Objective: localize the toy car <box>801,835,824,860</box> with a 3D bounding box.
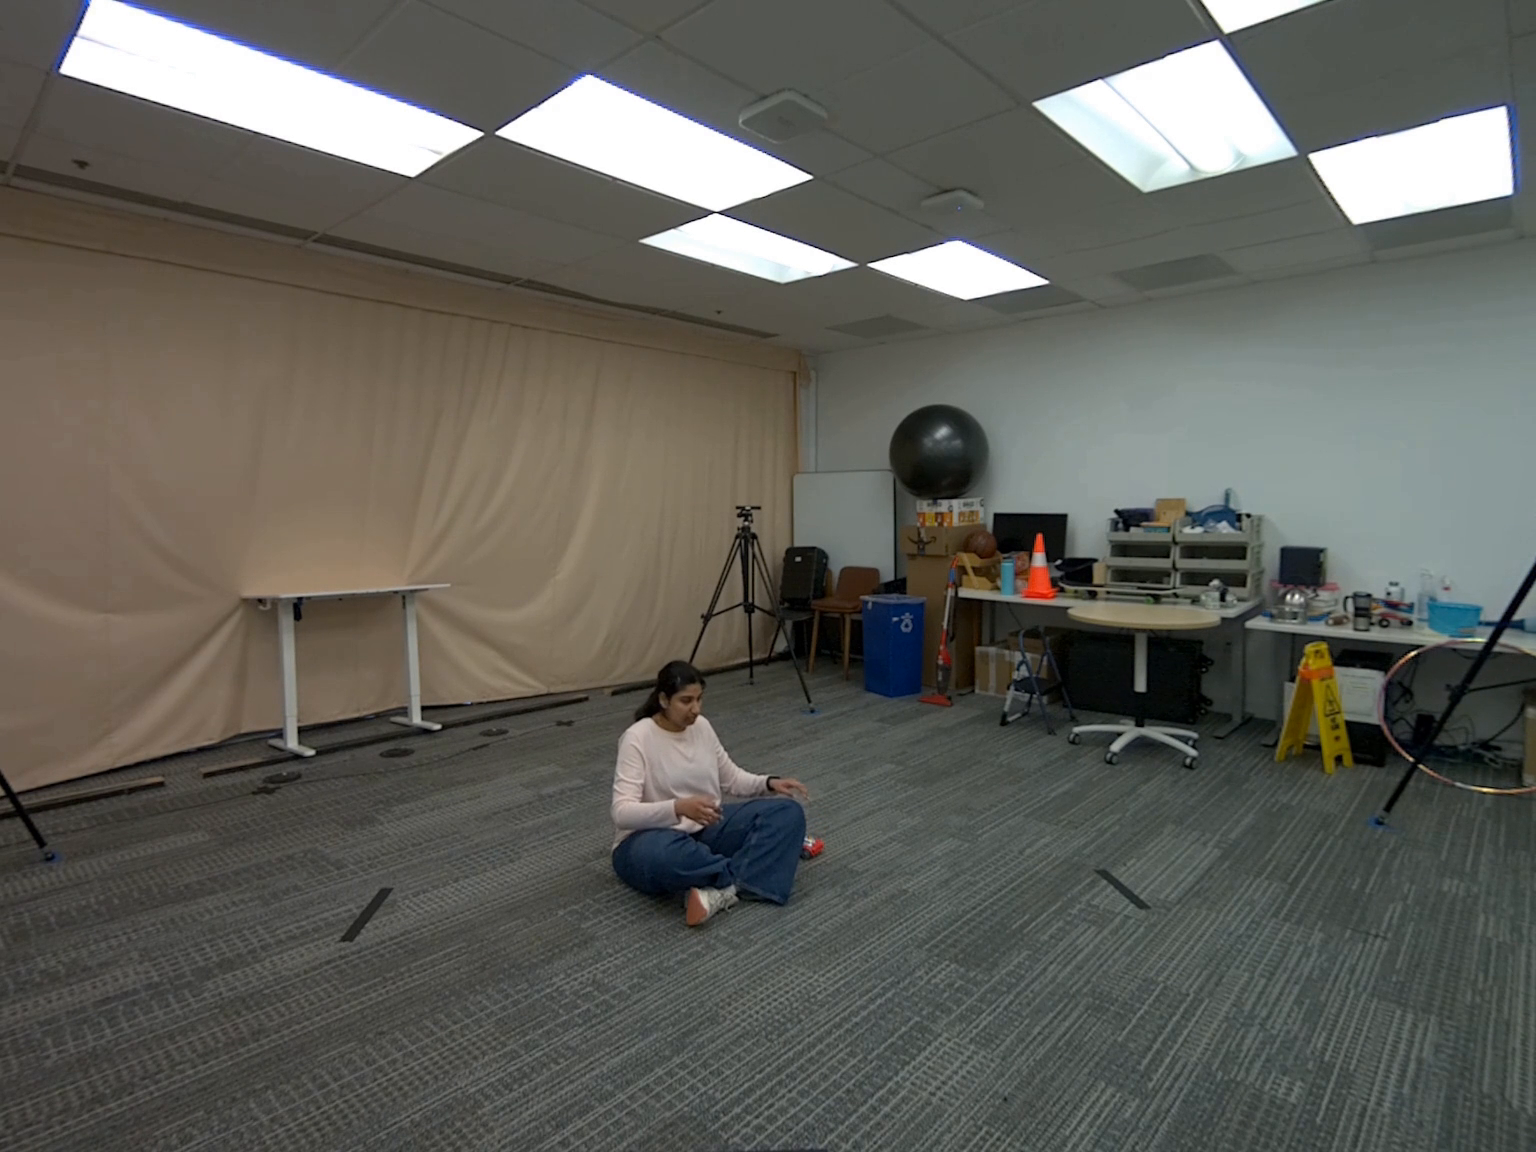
[{"bbox_3d":[0.101,1.083,3.410,0.263,0.083,0.126,14,12,33],"label":"toy car"}]
